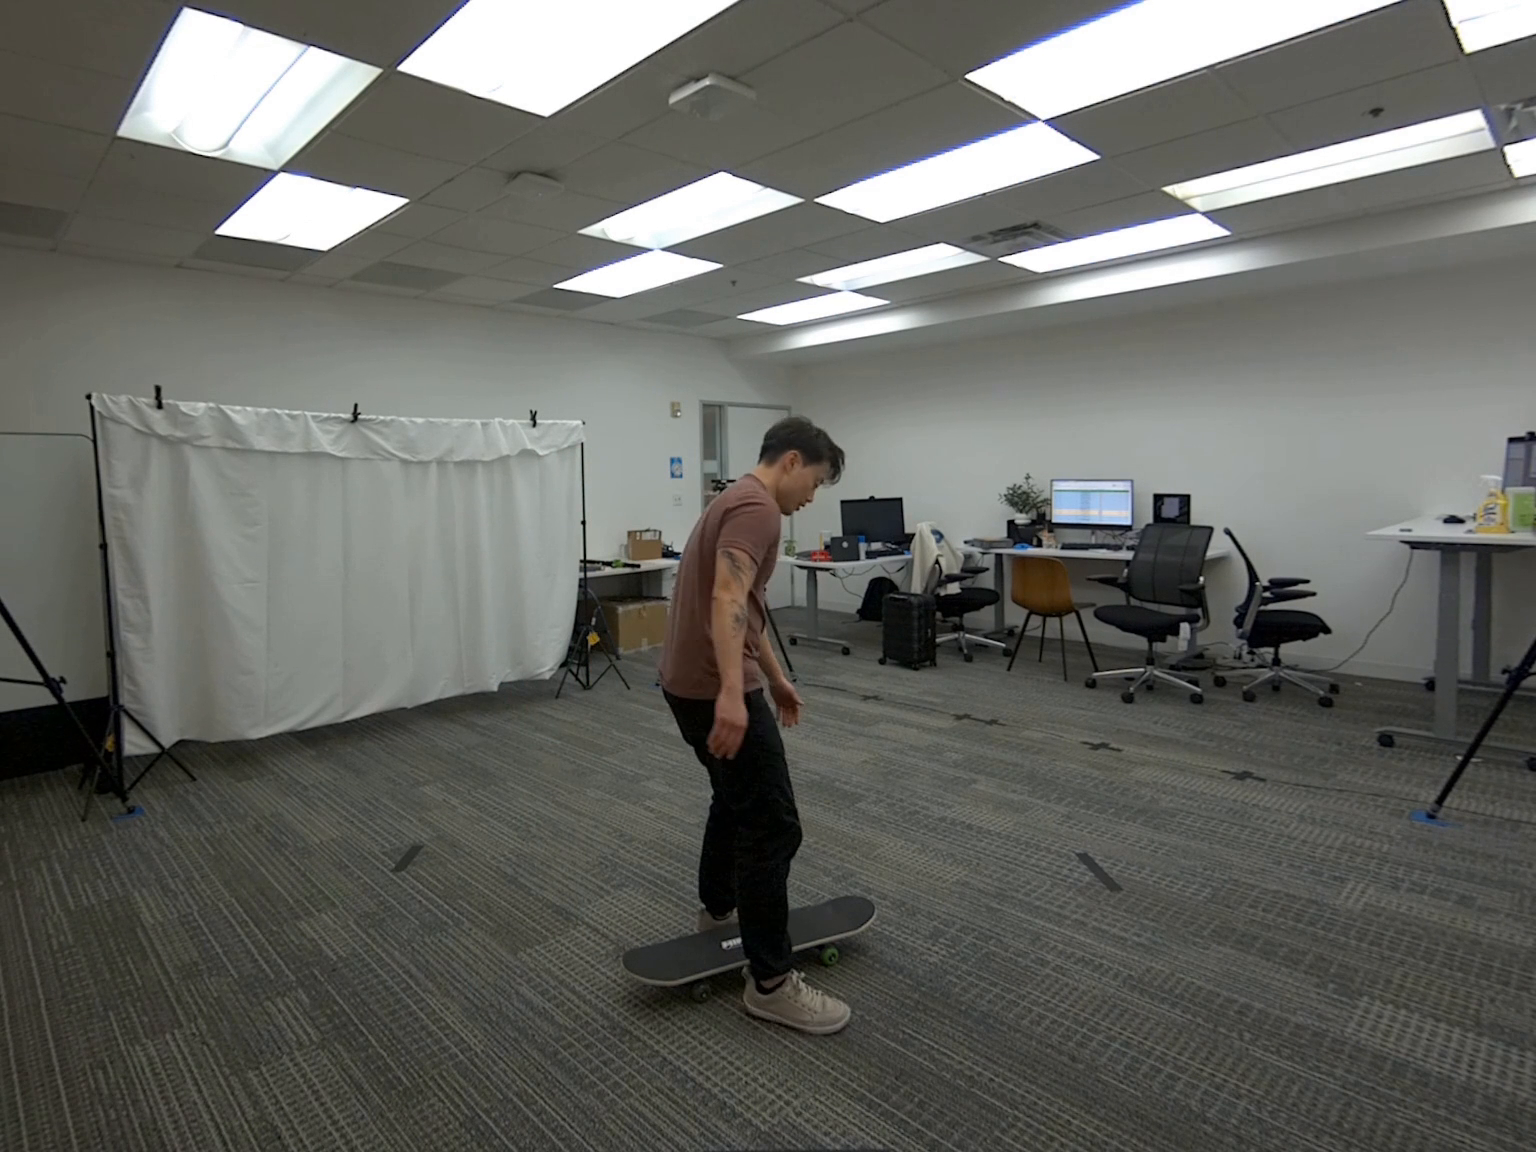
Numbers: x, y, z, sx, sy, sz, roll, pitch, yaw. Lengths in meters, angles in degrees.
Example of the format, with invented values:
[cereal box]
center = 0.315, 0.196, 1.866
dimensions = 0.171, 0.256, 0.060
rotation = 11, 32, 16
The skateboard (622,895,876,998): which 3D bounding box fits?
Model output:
[skateboard]
center = -0.031, 1.061, 2.450
dimensions = 0.770, 0.110, 0.198
rotation = -4, 7, -24
